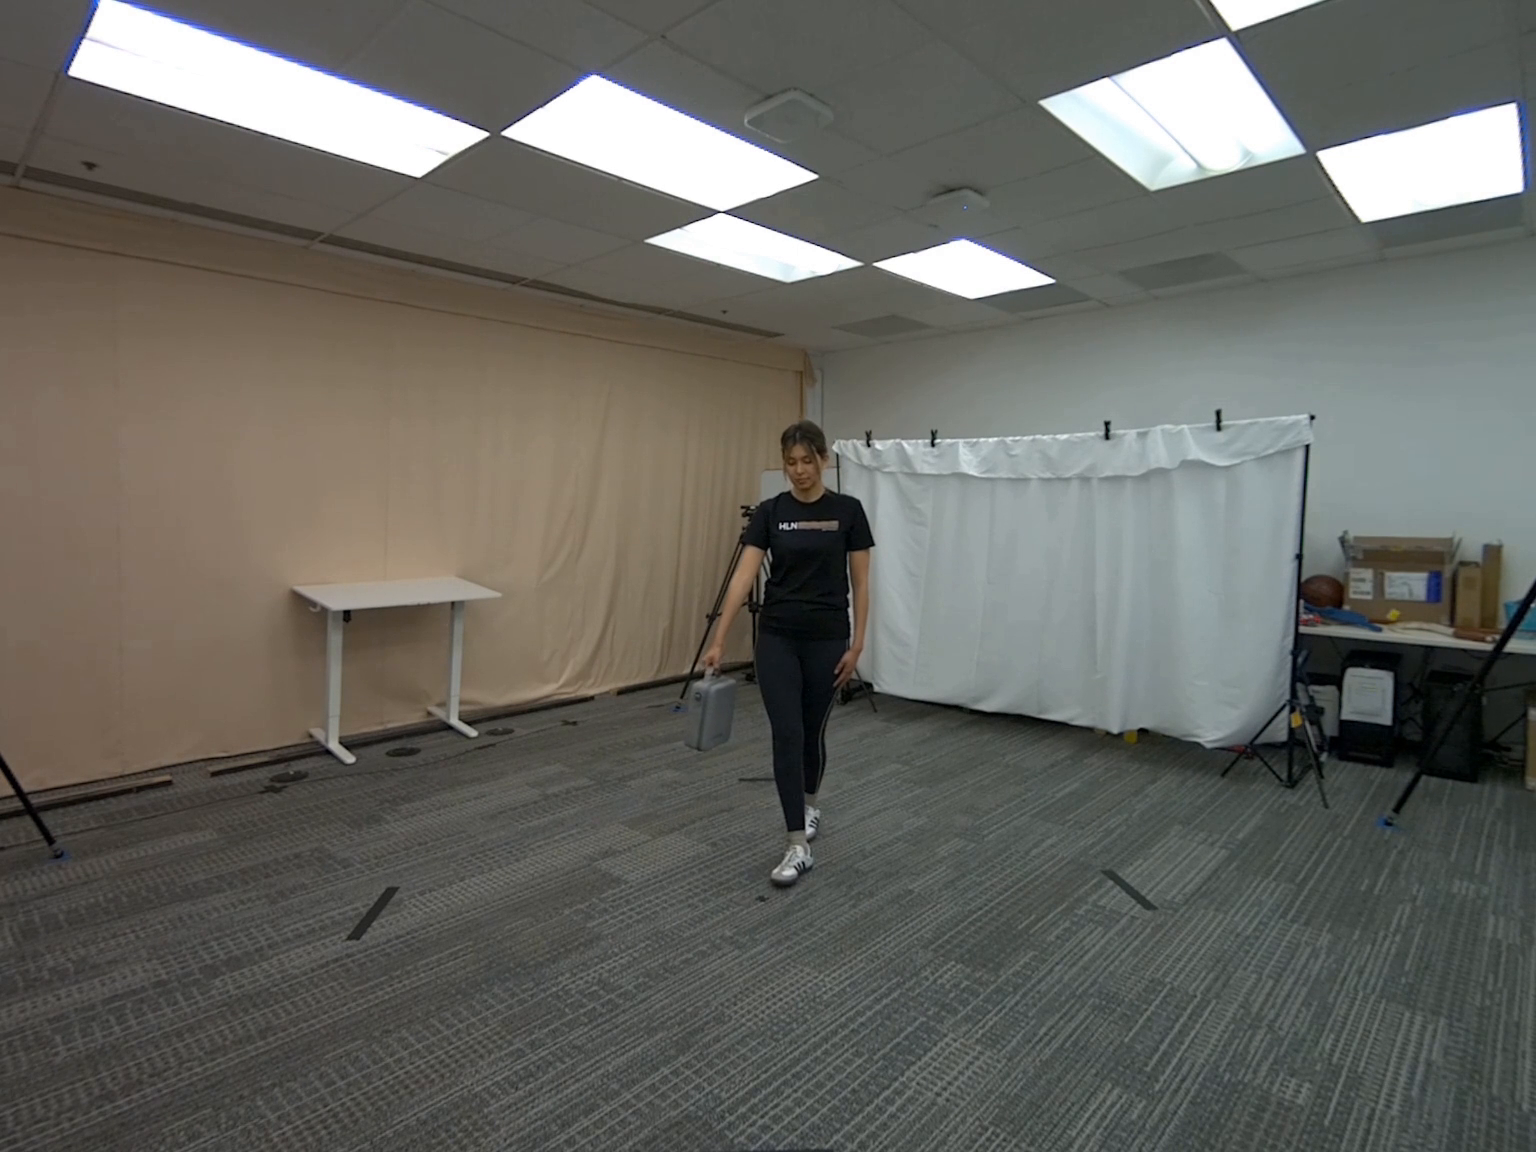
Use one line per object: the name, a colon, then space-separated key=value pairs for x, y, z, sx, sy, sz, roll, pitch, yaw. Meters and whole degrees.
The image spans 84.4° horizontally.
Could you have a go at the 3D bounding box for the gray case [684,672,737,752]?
gray case: x=-0.215 y=0.513 z=3.217 sx=0.107 sy=0.260 sz=0.251 roll=9 pitch=2 yaw=19
